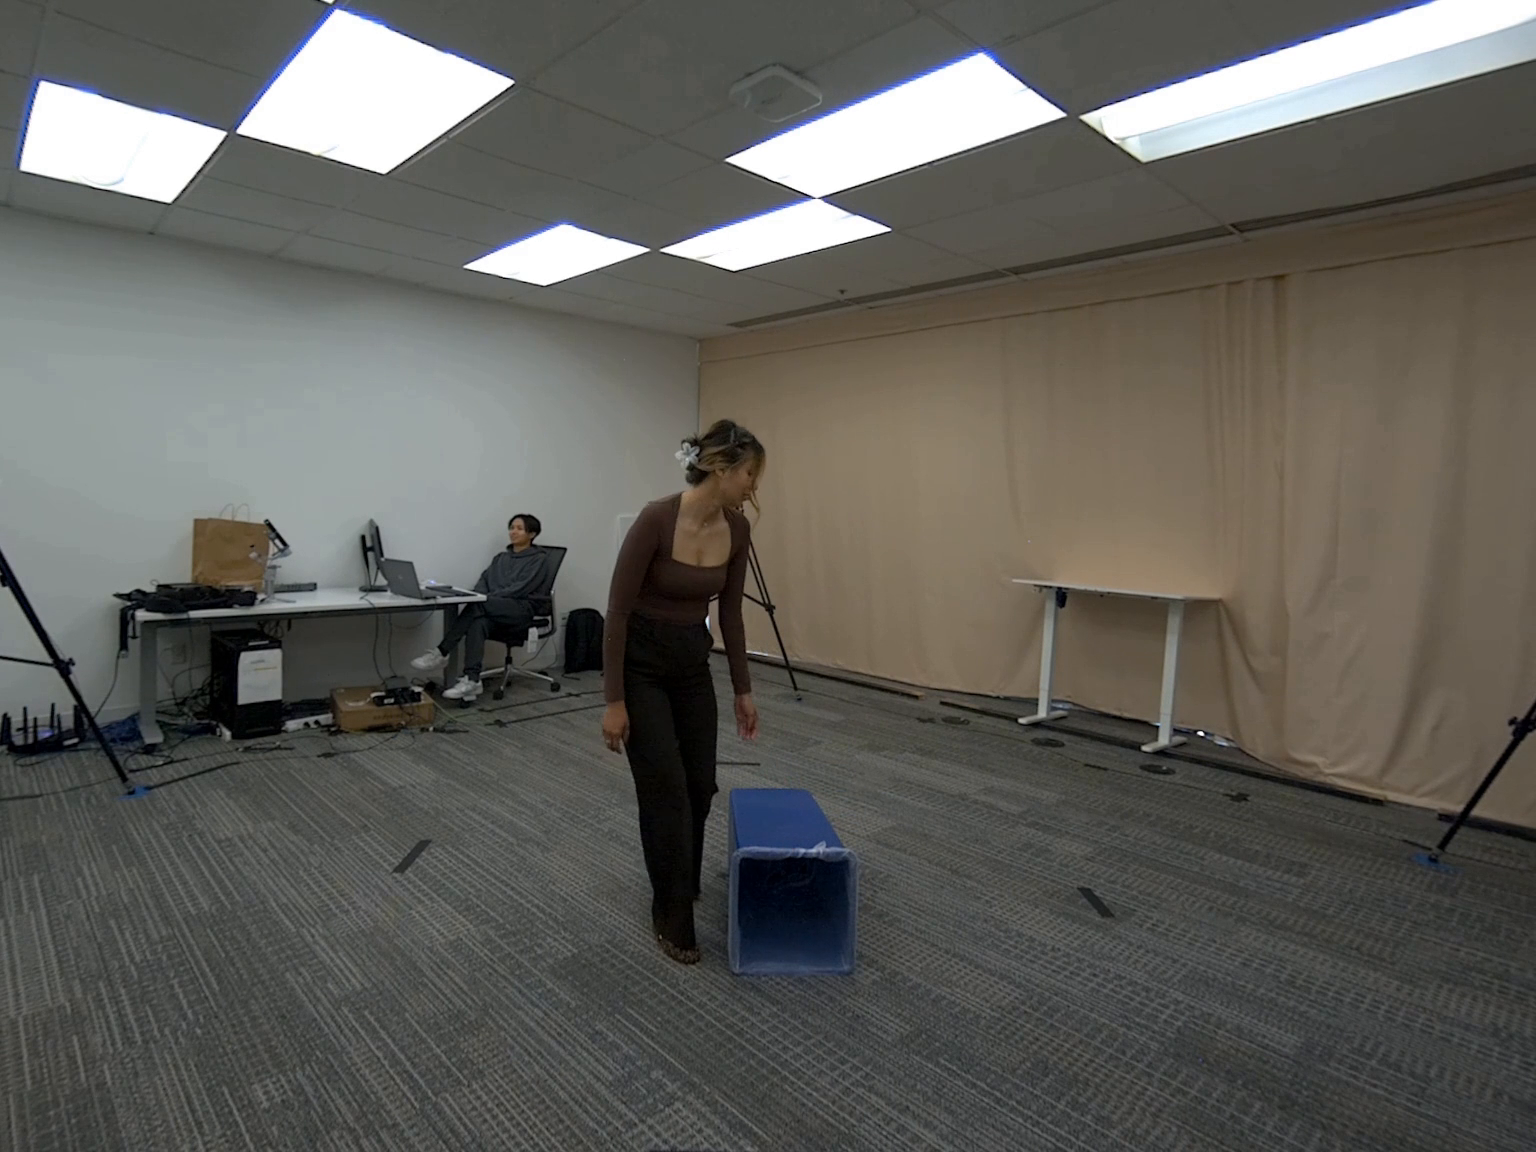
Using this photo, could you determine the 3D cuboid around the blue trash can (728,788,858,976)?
[{"bbox_3d":[0.033,0.975,2.813,0.372,0.377,0.718,0,2,-7],"label":"blue trash can"}]
